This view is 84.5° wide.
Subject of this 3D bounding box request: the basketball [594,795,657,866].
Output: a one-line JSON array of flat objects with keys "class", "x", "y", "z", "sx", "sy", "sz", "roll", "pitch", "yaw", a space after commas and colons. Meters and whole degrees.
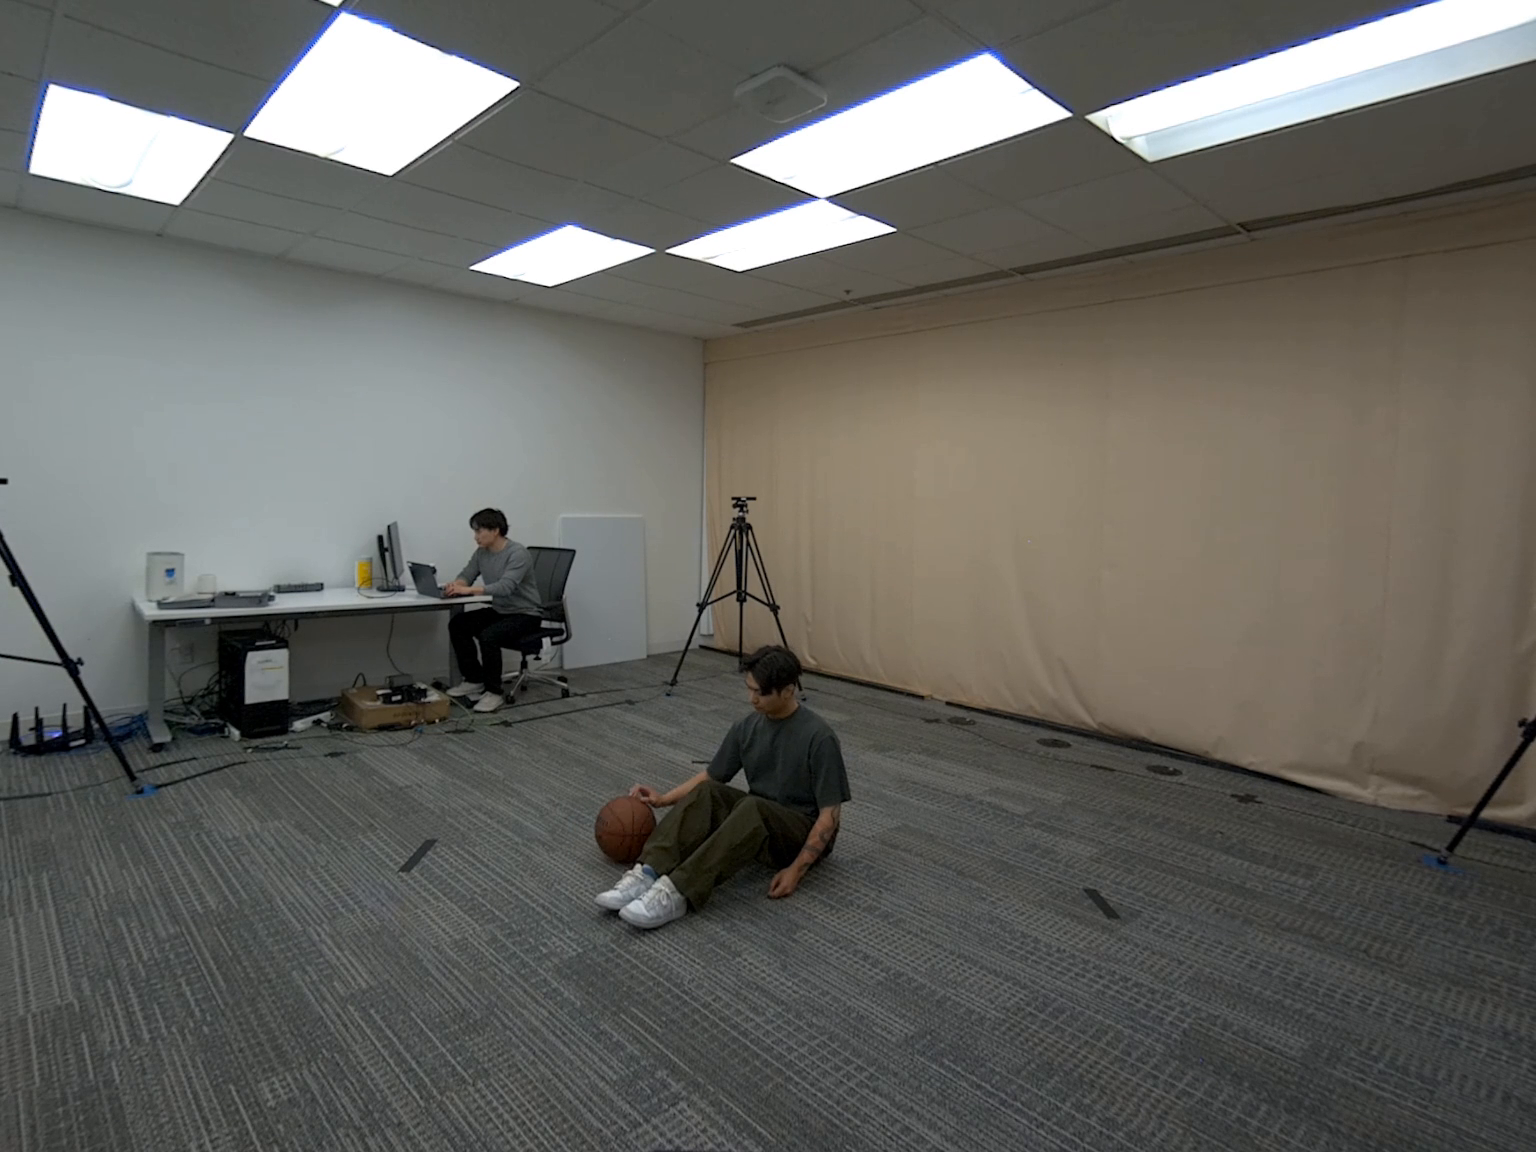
[{"class": "basketball", "x": -0.548, "y": 0.960, "z": 3.232, "sx": 0.236, "sy": 0.235, "sz": 0.237, "roll": 1, "pitch": 4, "yaw": -1}]
